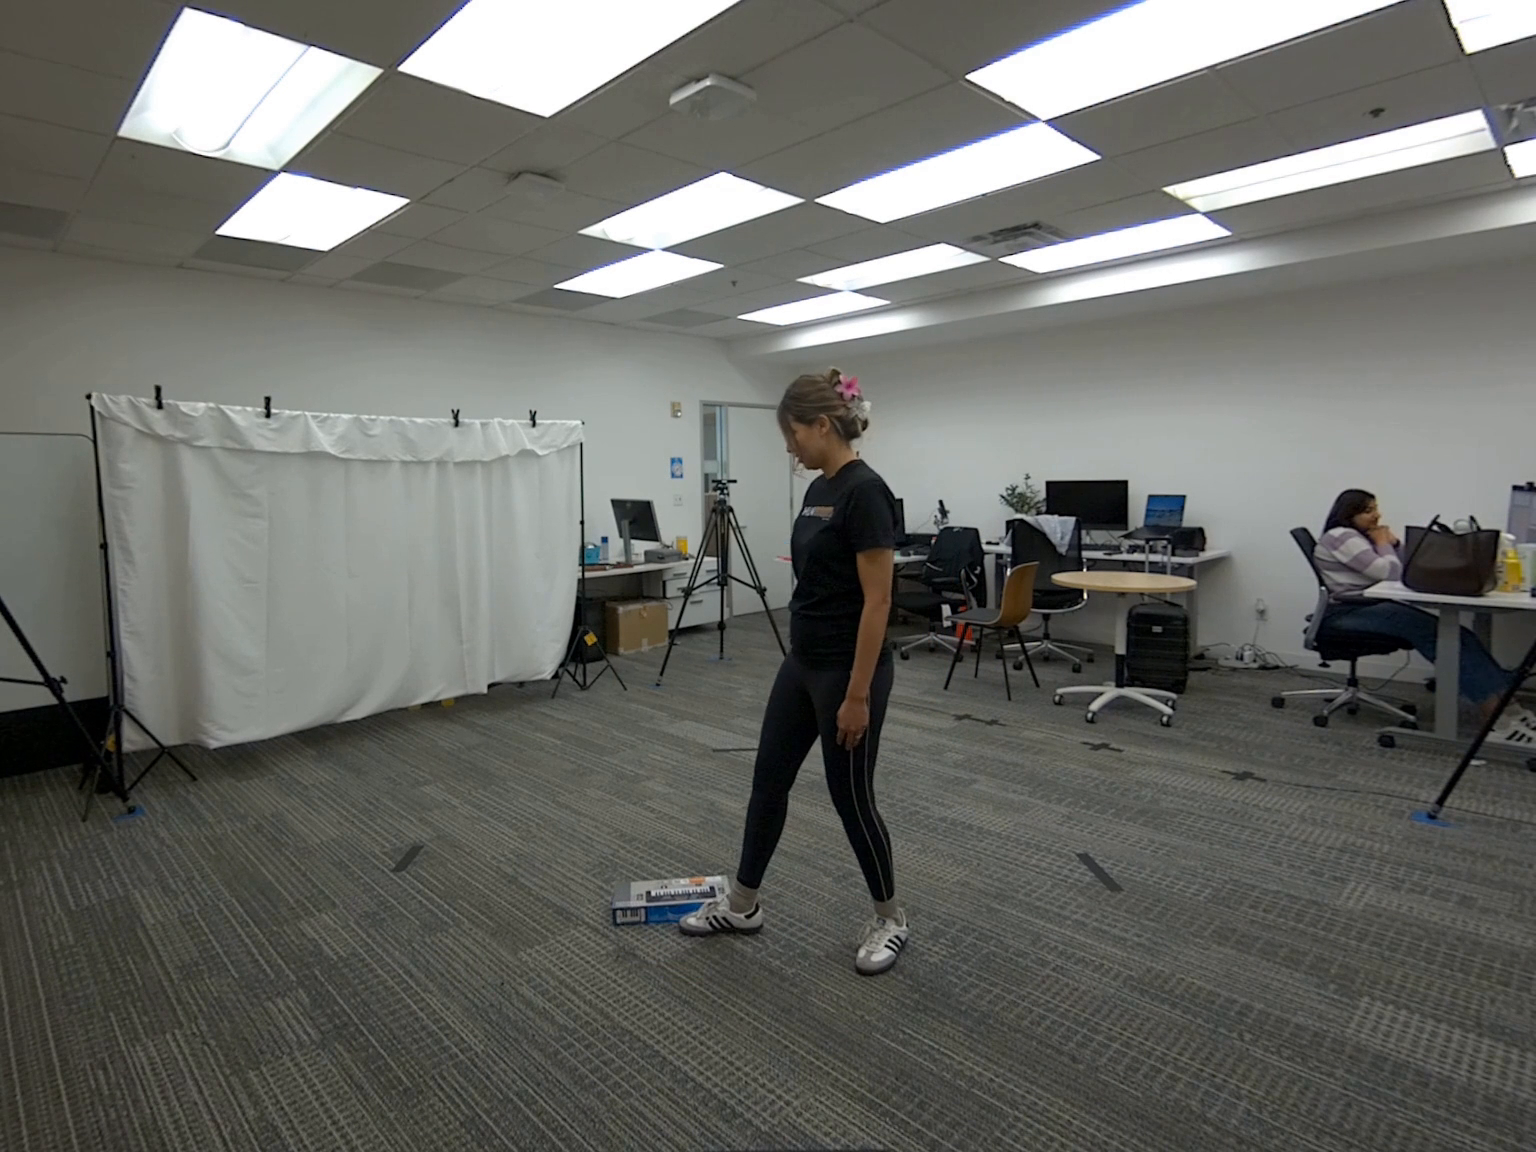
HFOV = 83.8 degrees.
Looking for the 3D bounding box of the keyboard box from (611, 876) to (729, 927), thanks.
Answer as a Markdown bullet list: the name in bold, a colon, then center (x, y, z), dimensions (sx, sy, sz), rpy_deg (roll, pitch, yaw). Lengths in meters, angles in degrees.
- **keyboard box**: center (-0.281, 1.060, 2.793), dimensions (0.434, 0.059, 0.178), rpy_deg (-2, 6, -6)
